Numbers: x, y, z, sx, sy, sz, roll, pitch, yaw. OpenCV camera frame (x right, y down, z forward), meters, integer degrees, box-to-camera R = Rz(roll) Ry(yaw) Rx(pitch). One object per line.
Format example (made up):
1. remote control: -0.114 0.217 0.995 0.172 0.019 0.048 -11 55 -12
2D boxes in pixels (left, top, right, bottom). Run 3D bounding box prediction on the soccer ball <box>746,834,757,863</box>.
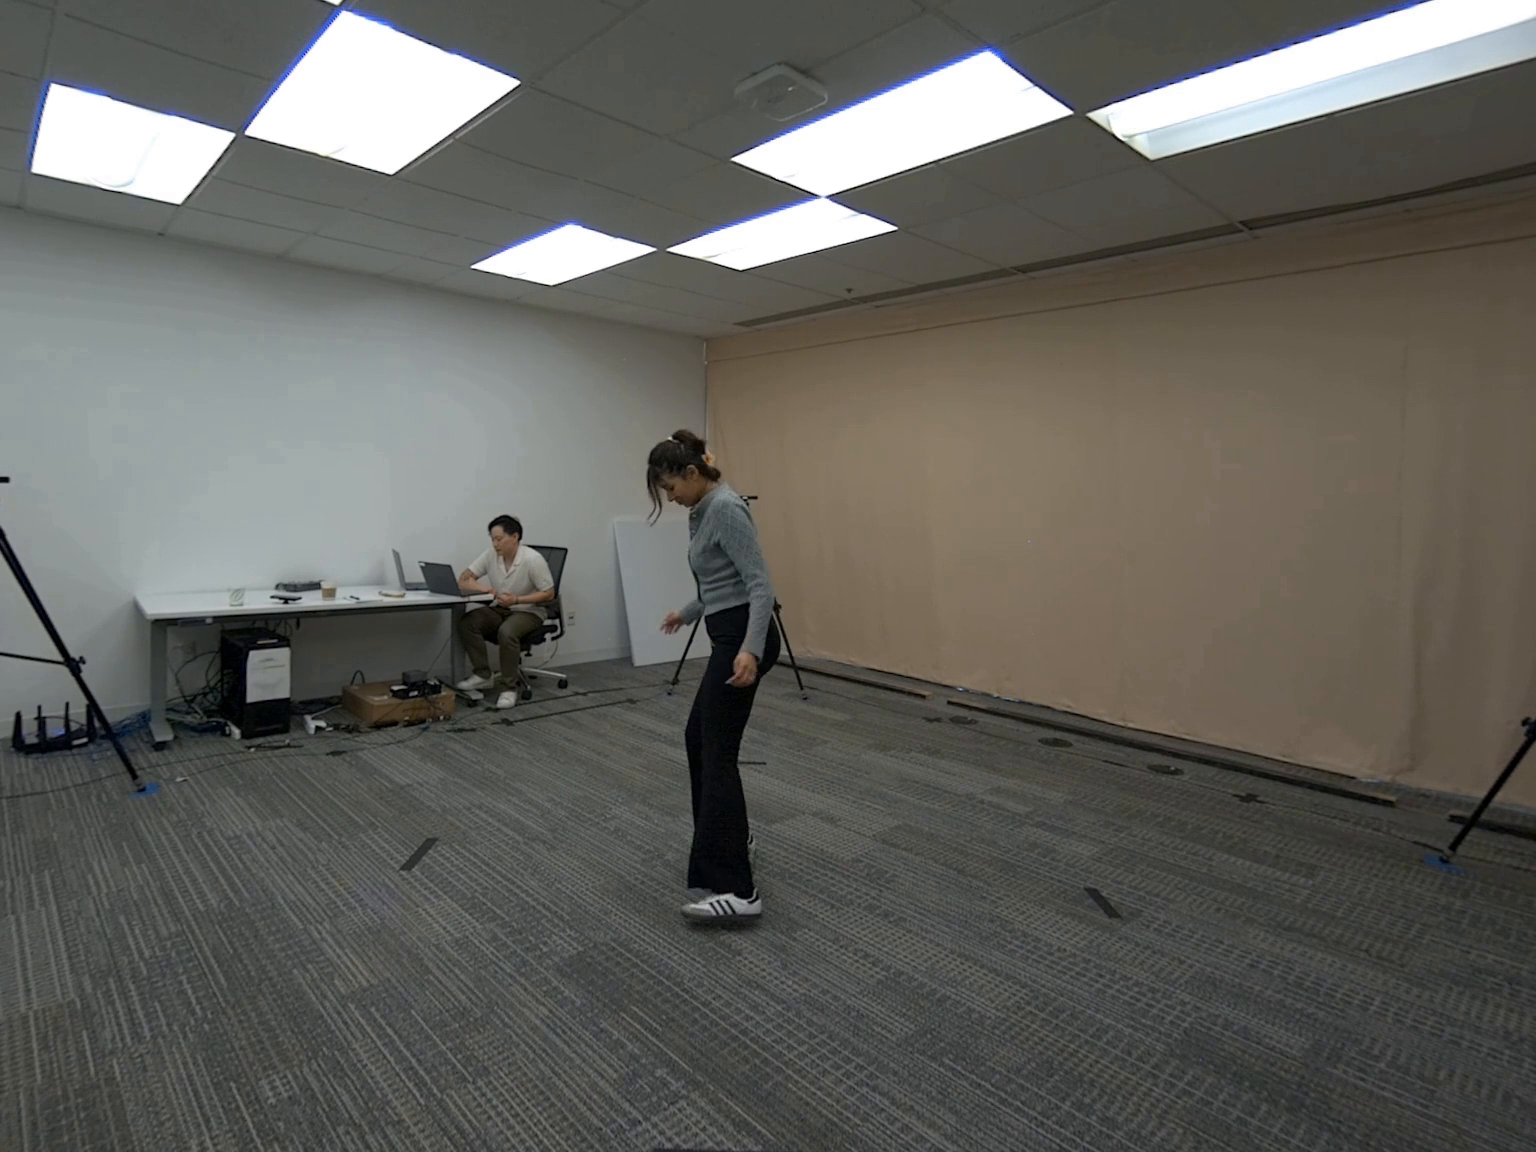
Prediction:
1. soccer ball: -0.153 1.024 2.985 0.187 0.187 0.188 1 4 -1
